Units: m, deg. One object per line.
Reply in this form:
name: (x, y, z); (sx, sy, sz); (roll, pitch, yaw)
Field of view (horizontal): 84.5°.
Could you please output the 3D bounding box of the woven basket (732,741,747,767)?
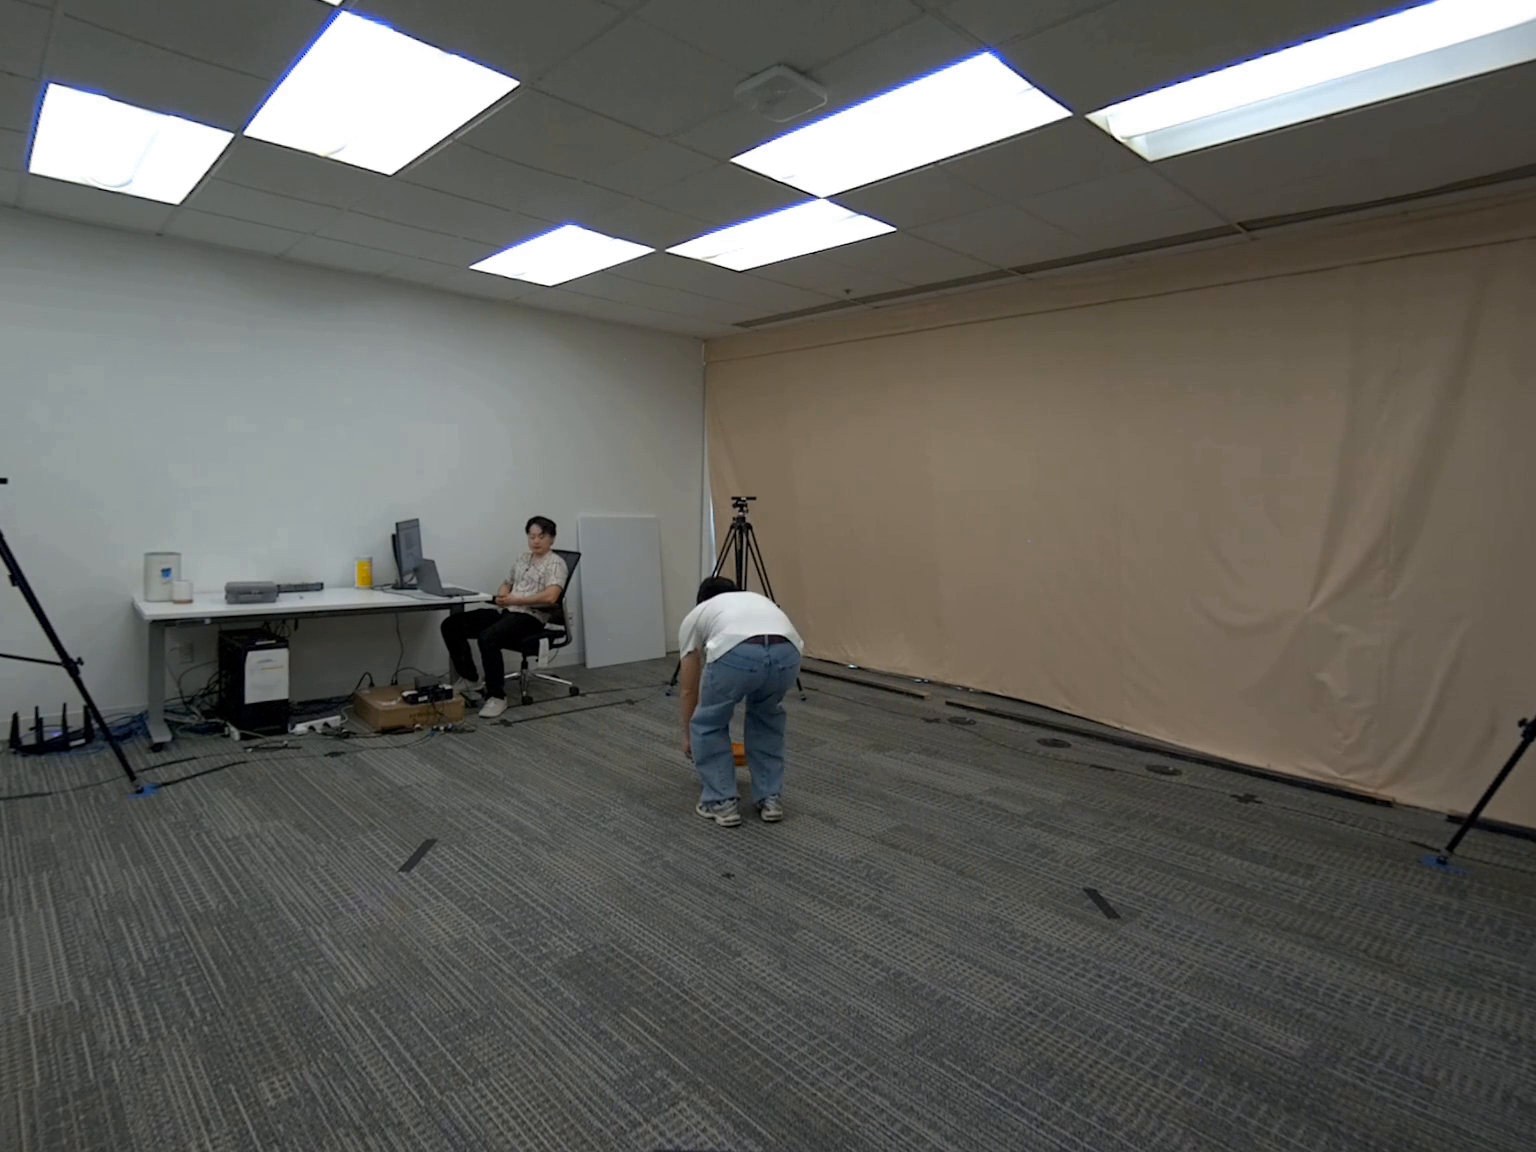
woven basket: (-0.222, 0.856, 4.075); (0.348, 0.073, 0.254); (1, 2, -9)
